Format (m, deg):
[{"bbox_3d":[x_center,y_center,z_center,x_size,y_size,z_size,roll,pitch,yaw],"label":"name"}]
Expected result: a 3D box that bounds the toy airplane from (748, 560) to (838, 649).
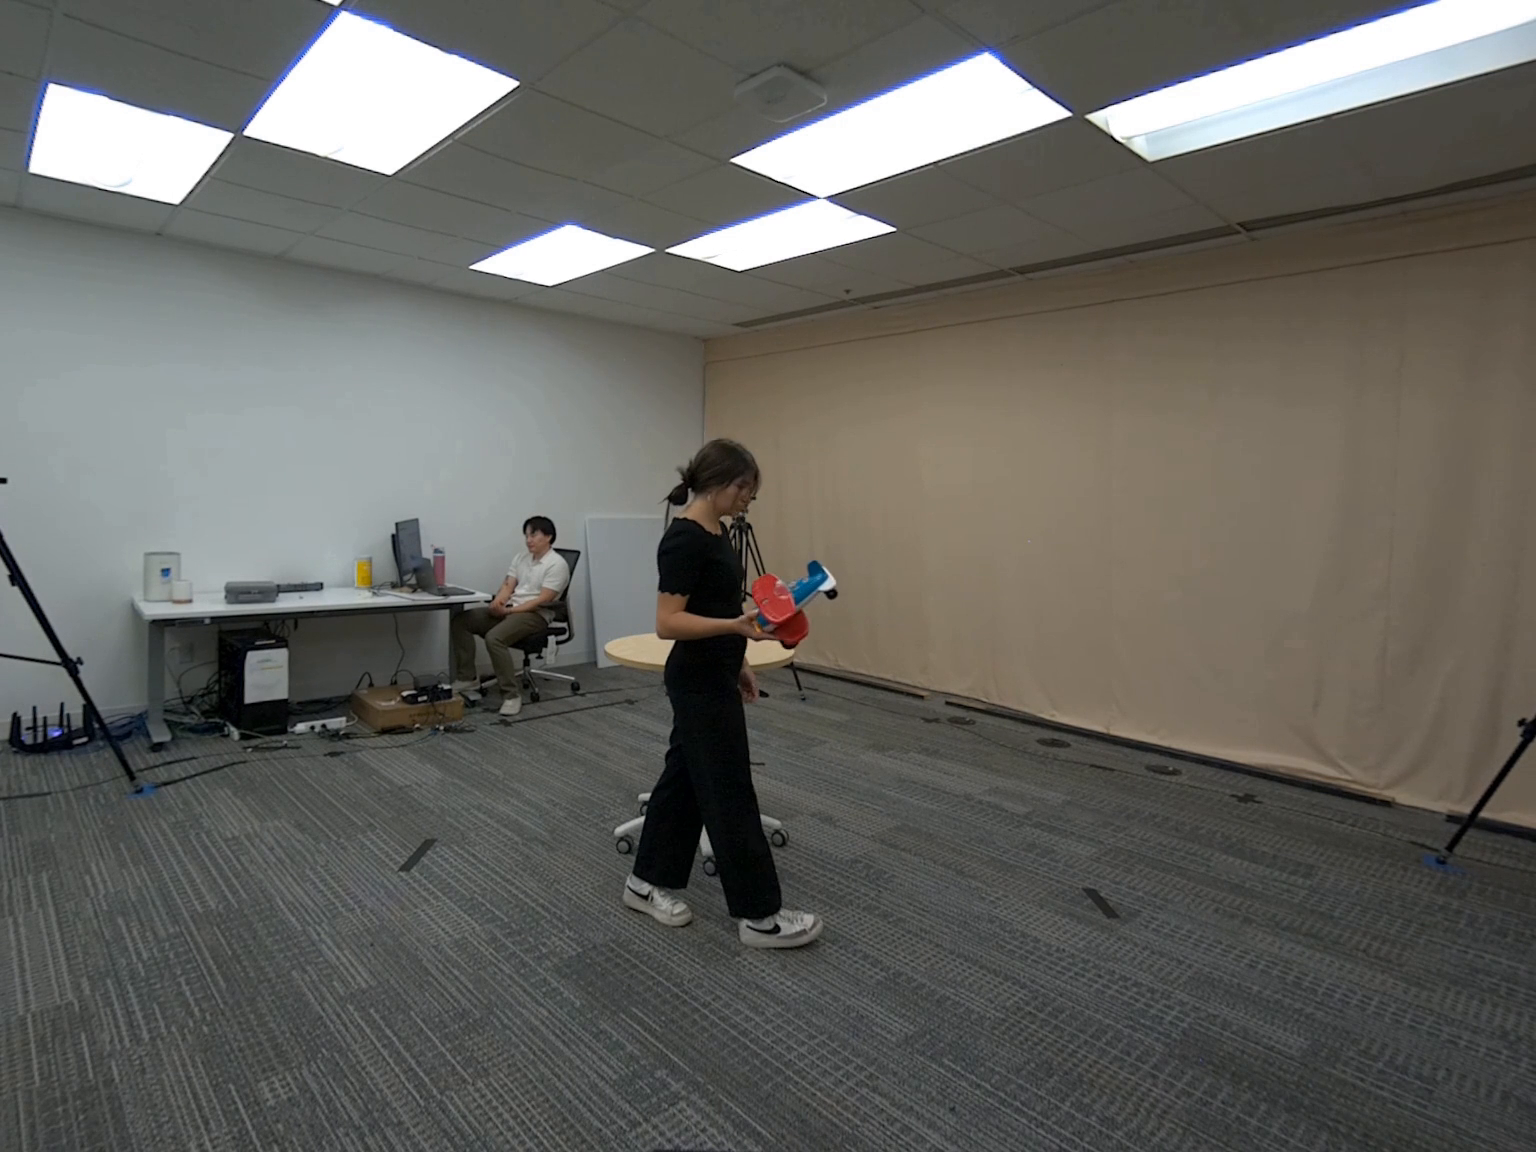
[{"bbox_3d":[0.052,0.065,2.403,0.152,0.260,0.256,40,-20,-28],"label":"toy airplane"}]
